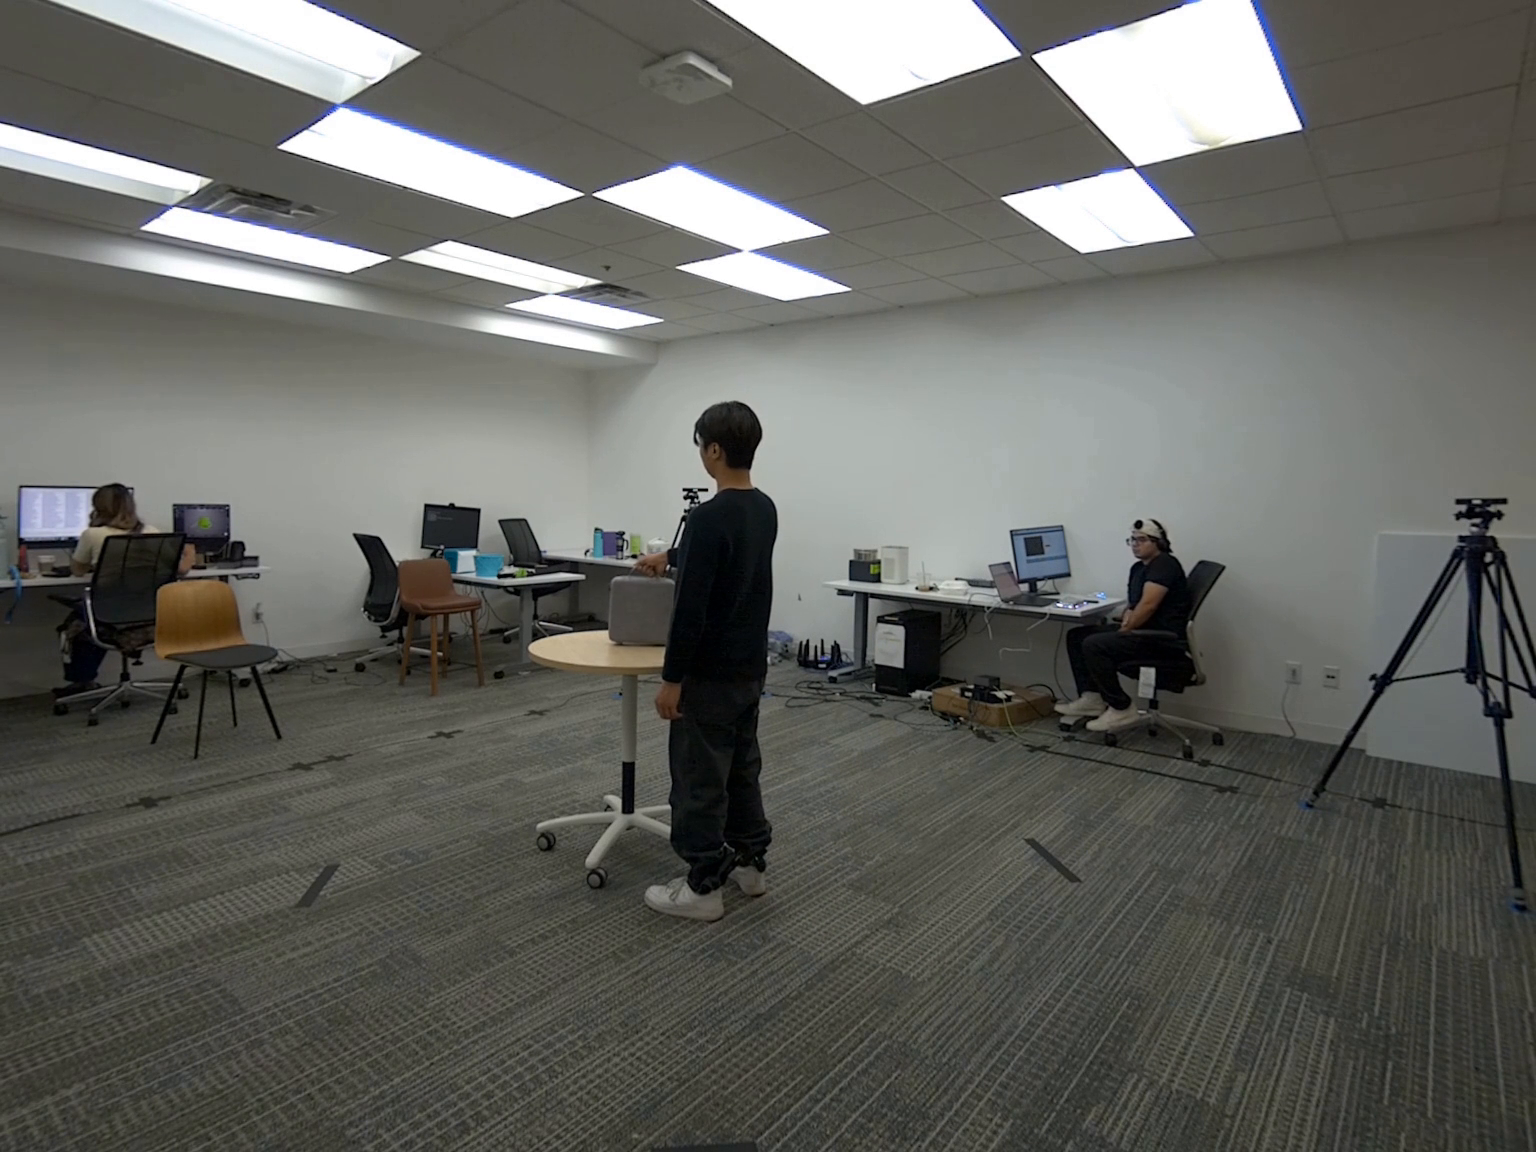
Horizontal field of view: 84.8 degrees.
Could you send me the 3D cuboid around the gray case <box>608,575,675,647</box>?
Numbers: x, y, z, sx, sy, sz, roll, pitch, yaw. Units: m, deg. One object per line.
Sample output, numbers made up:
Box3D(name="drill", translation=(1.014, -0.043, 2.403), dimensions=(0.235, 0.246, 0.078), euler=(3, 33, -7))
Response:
Box3D(name="gray case", translation=(-0.497, 0.130, 3.289), dimensions=(0.256, 0.260, 0.105), euler=(2, 3, -2))
